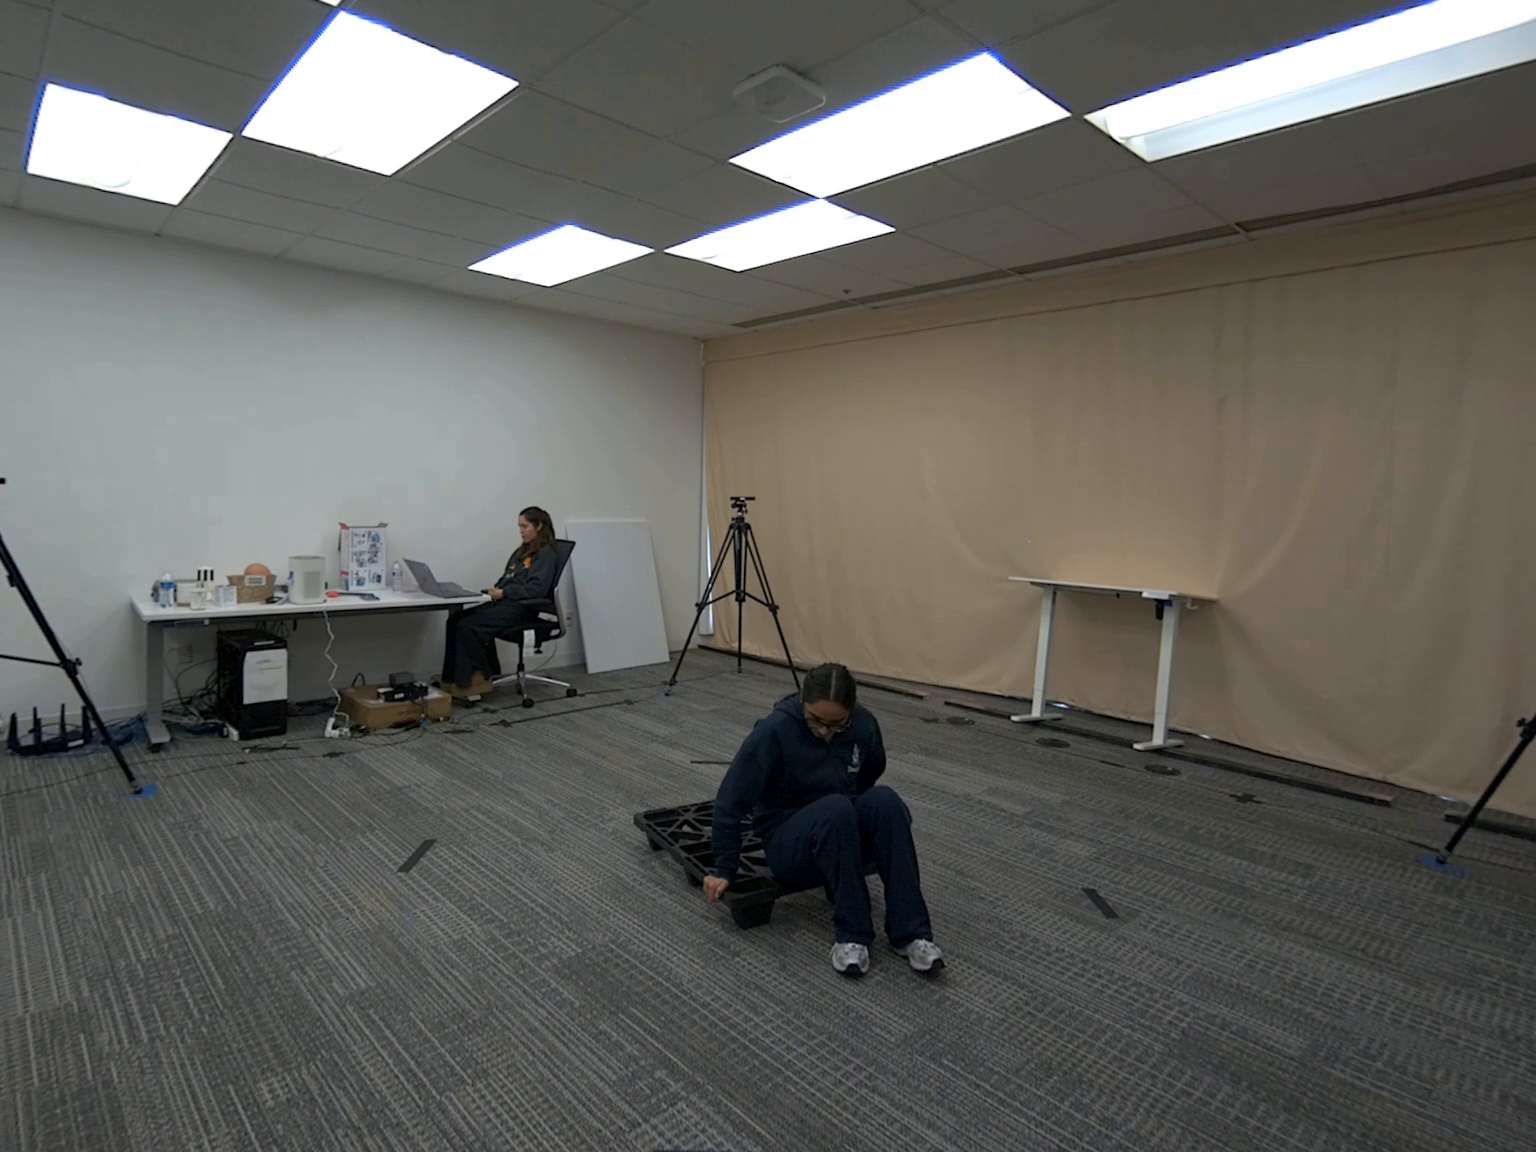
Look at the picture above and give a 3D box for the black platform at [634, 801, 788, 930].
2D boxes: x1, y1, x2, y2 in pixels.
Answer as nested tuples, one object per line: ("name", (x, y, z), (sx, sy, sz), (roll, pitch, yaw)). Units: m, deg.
("black platform", (-0.088, 1.039, 3.147), (0.593, 0.143, 0.824), (-1, 6, -30))
